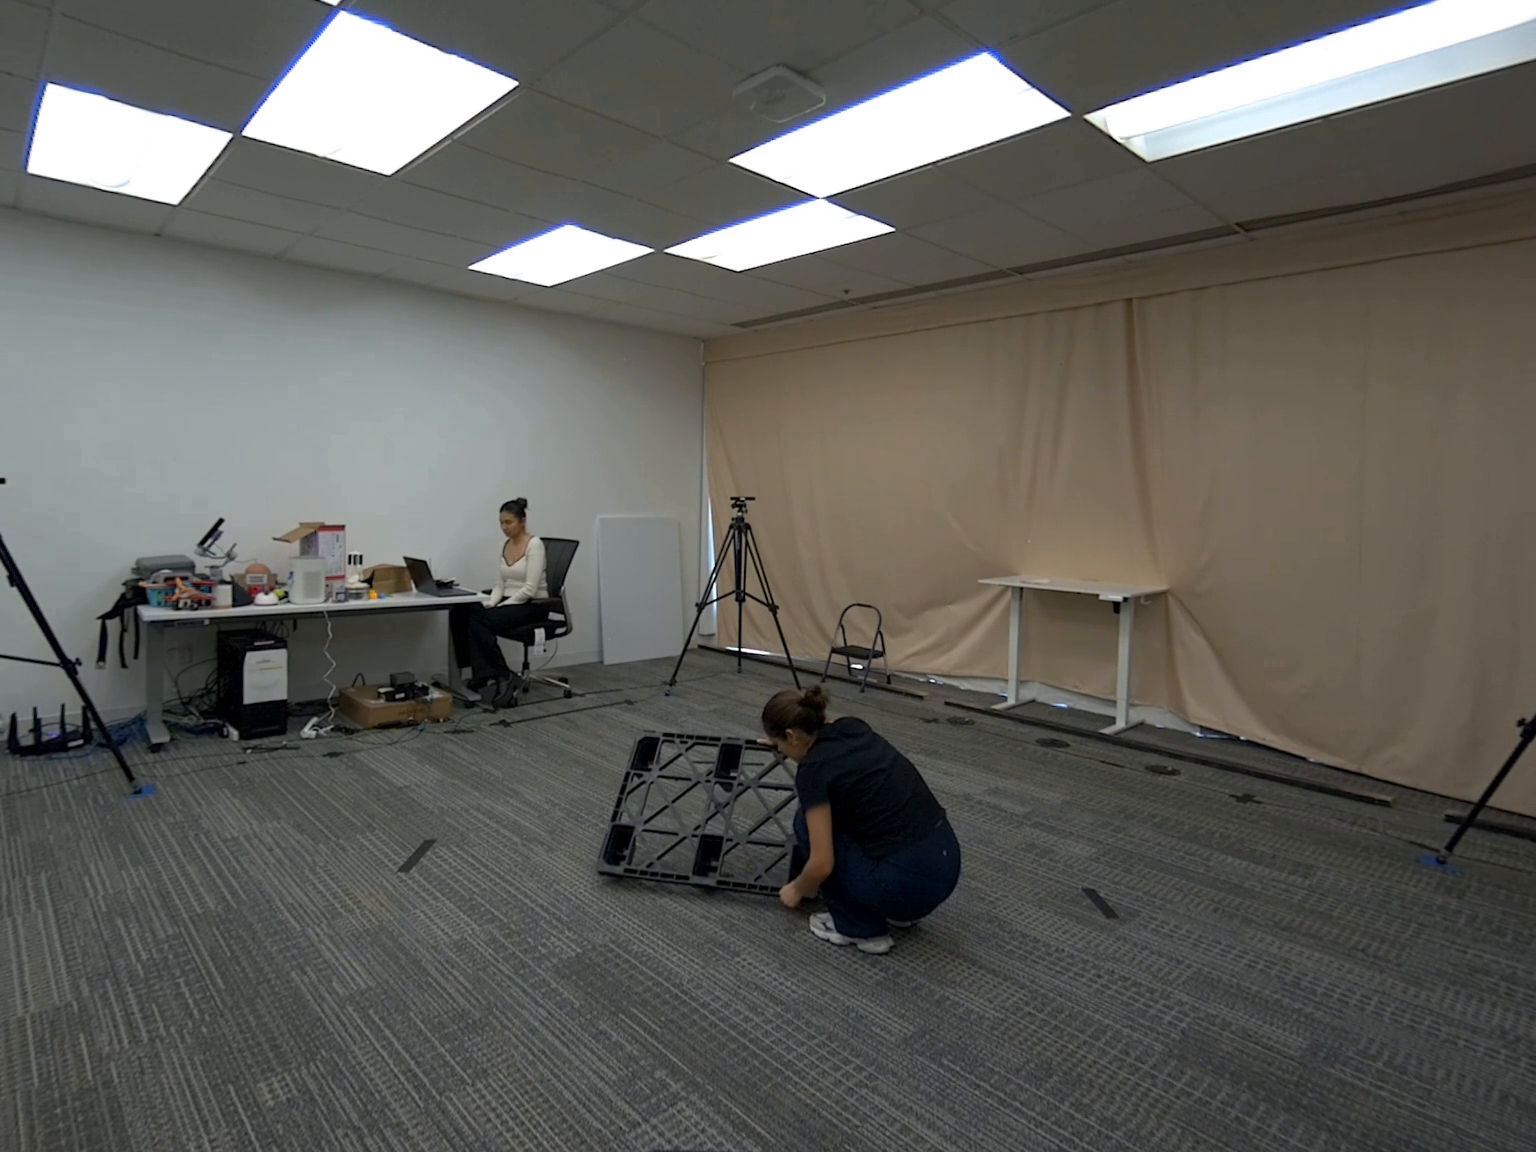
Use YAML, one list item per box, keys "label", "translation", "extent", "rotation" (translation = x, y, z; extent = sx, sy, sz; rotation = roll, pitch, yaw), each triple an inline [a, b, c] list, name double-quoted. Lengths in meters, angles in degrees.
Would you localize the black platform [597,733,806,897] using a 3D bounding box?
- label: "black platform"
  translation: [-0.179, 0.895, 3.154]
  extent: [0.814, 0.139, 0.614]
  rotation: [2, 45, 13]
